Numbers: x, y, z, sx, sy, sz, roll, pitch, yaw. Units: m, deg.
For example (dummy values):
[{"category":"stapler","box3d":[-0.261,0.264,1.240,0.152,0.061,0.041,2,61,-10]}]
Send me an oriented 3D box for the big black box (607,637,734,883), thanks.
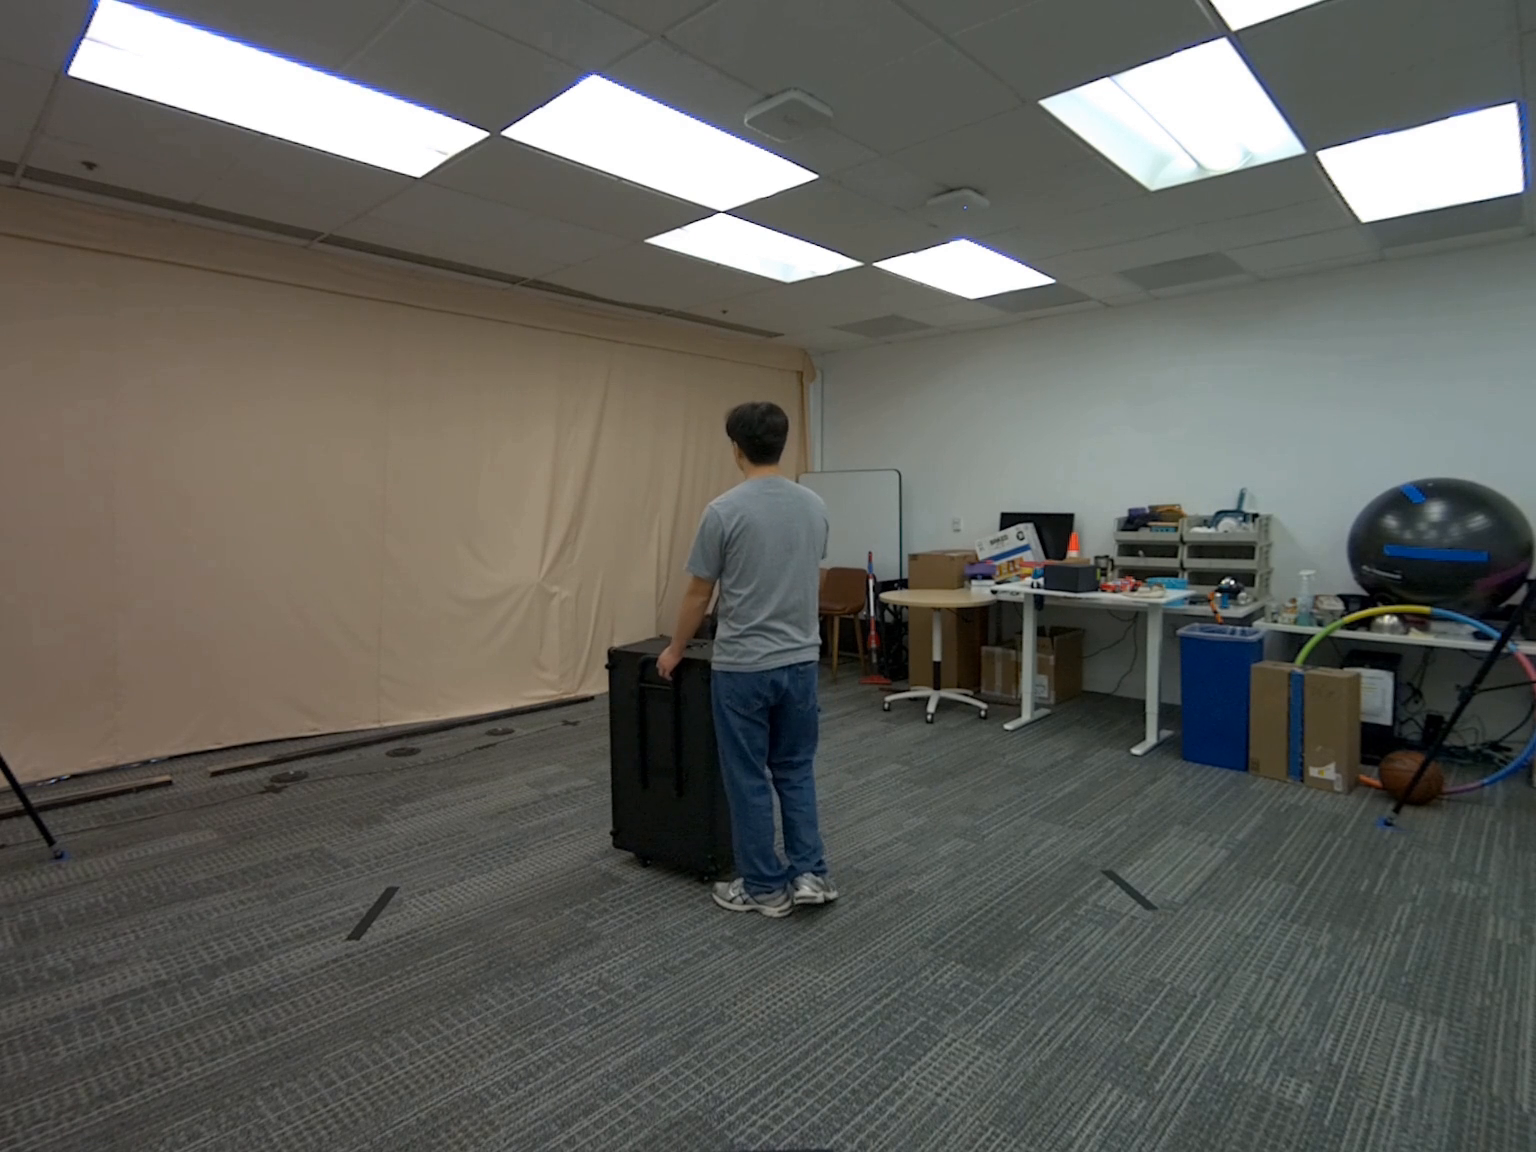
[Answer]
[{"category":"big black box","box3d":[-0.314,0.701,3.264,0.537,0.859,0.386,2,5,31]}]
